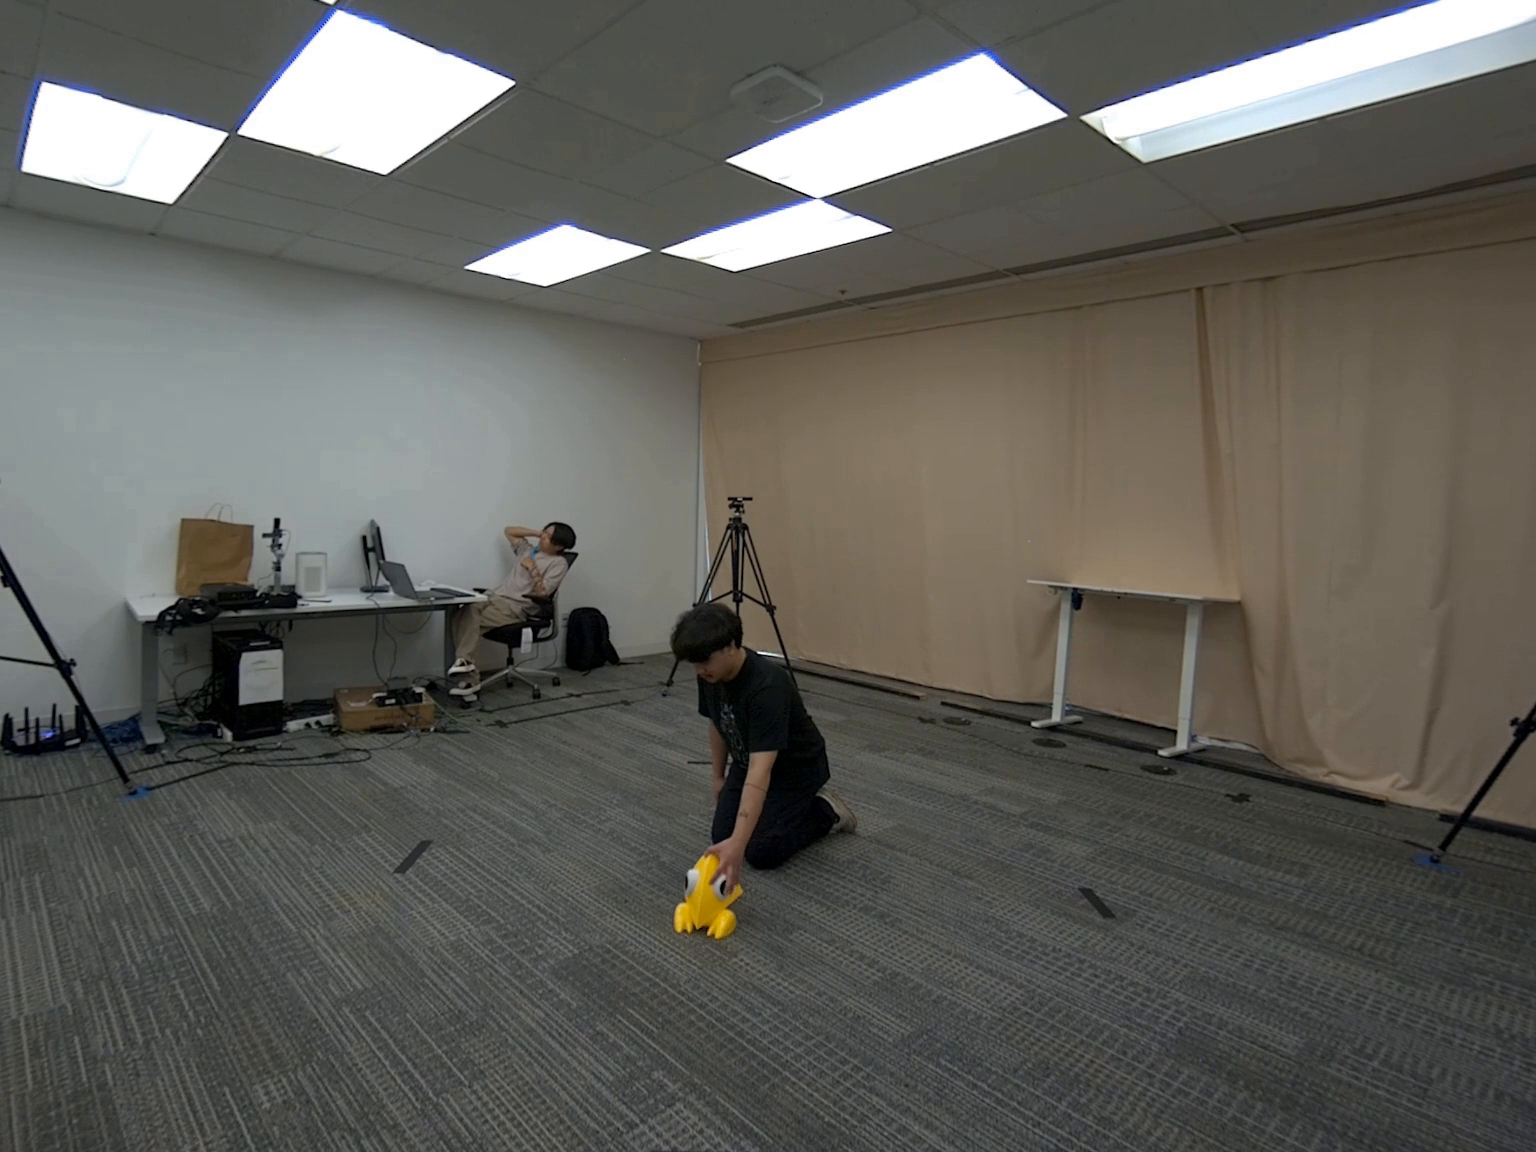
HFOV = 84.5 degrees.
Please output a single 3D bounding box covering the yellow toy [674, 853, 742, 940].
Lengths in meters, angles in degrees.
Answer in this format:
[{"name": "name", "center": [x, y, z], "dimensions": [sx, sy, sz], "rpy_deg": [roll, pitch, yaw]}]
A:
[{"name": "yellow toy", "center": [-0.215, 1.026, 2.754], "dimensions": [0.207, 0.230, 0.191], "rpy_deg": [2, 2, 13]}]
